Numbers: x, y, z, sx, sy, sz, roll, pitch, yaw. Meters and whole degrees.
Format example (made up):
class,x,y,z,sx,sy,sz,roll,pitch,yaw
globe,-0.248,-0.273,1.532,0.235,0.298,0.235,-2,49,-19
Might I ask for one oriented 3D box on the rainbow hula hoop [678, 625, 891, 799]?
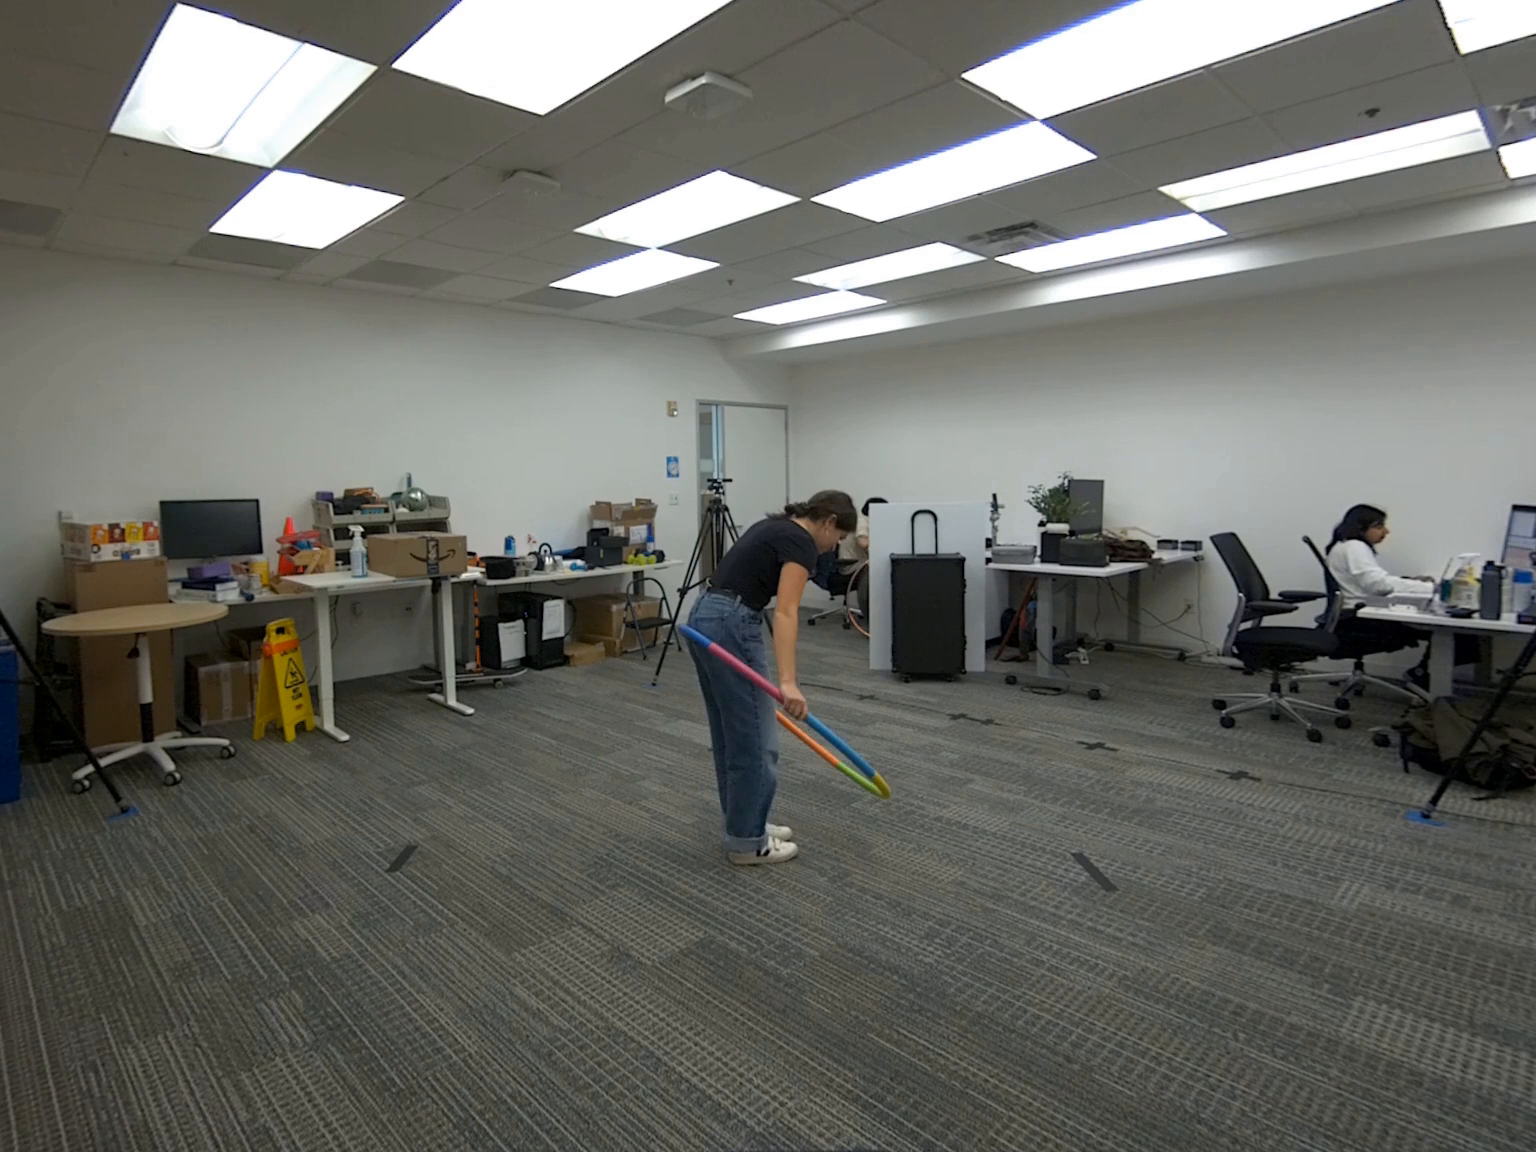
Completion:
class,x,y,z,sx,sy,sz,roll,pitch,yaw
rainbow hula hoop,0.046,0.506,3.225,0.990,0.035,0.967,38,-11,7
